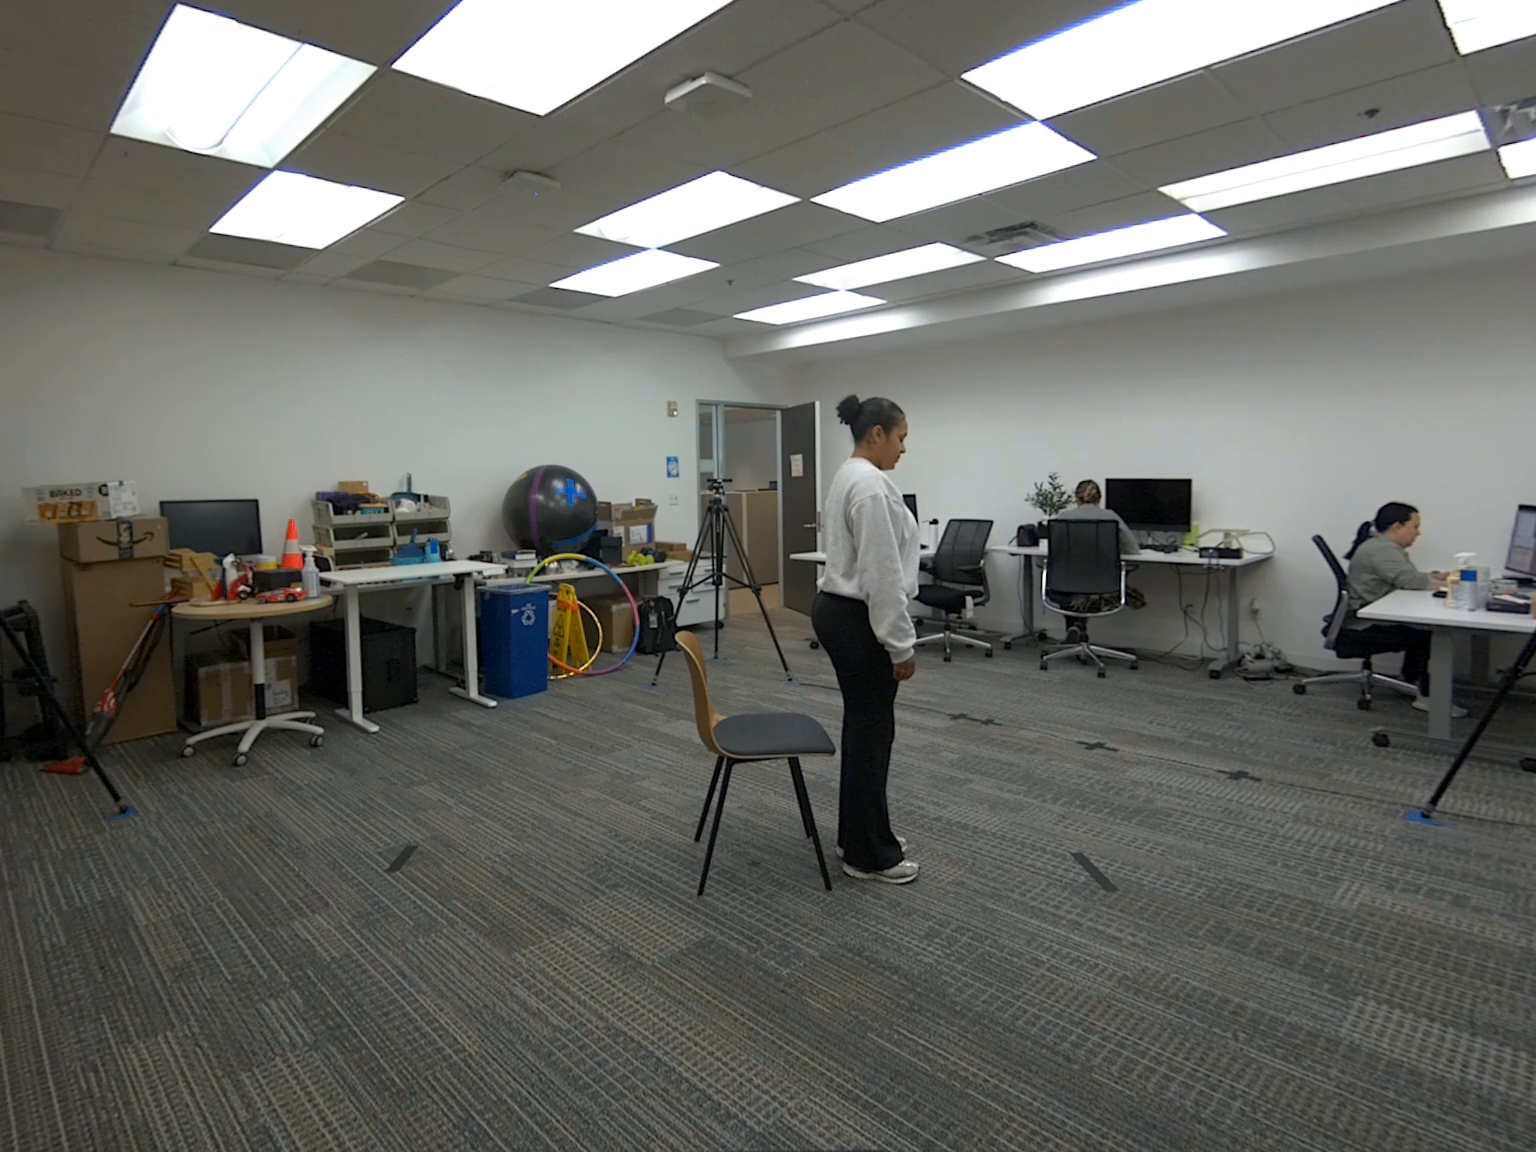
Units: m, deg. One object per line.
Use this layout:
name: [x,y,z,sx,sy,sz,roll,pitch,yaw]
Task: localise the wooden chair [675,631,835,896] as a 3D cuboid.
wooden chair: [-0.033,0.617,3.069,0.521,0.874,0.482,-5,4,-5]
